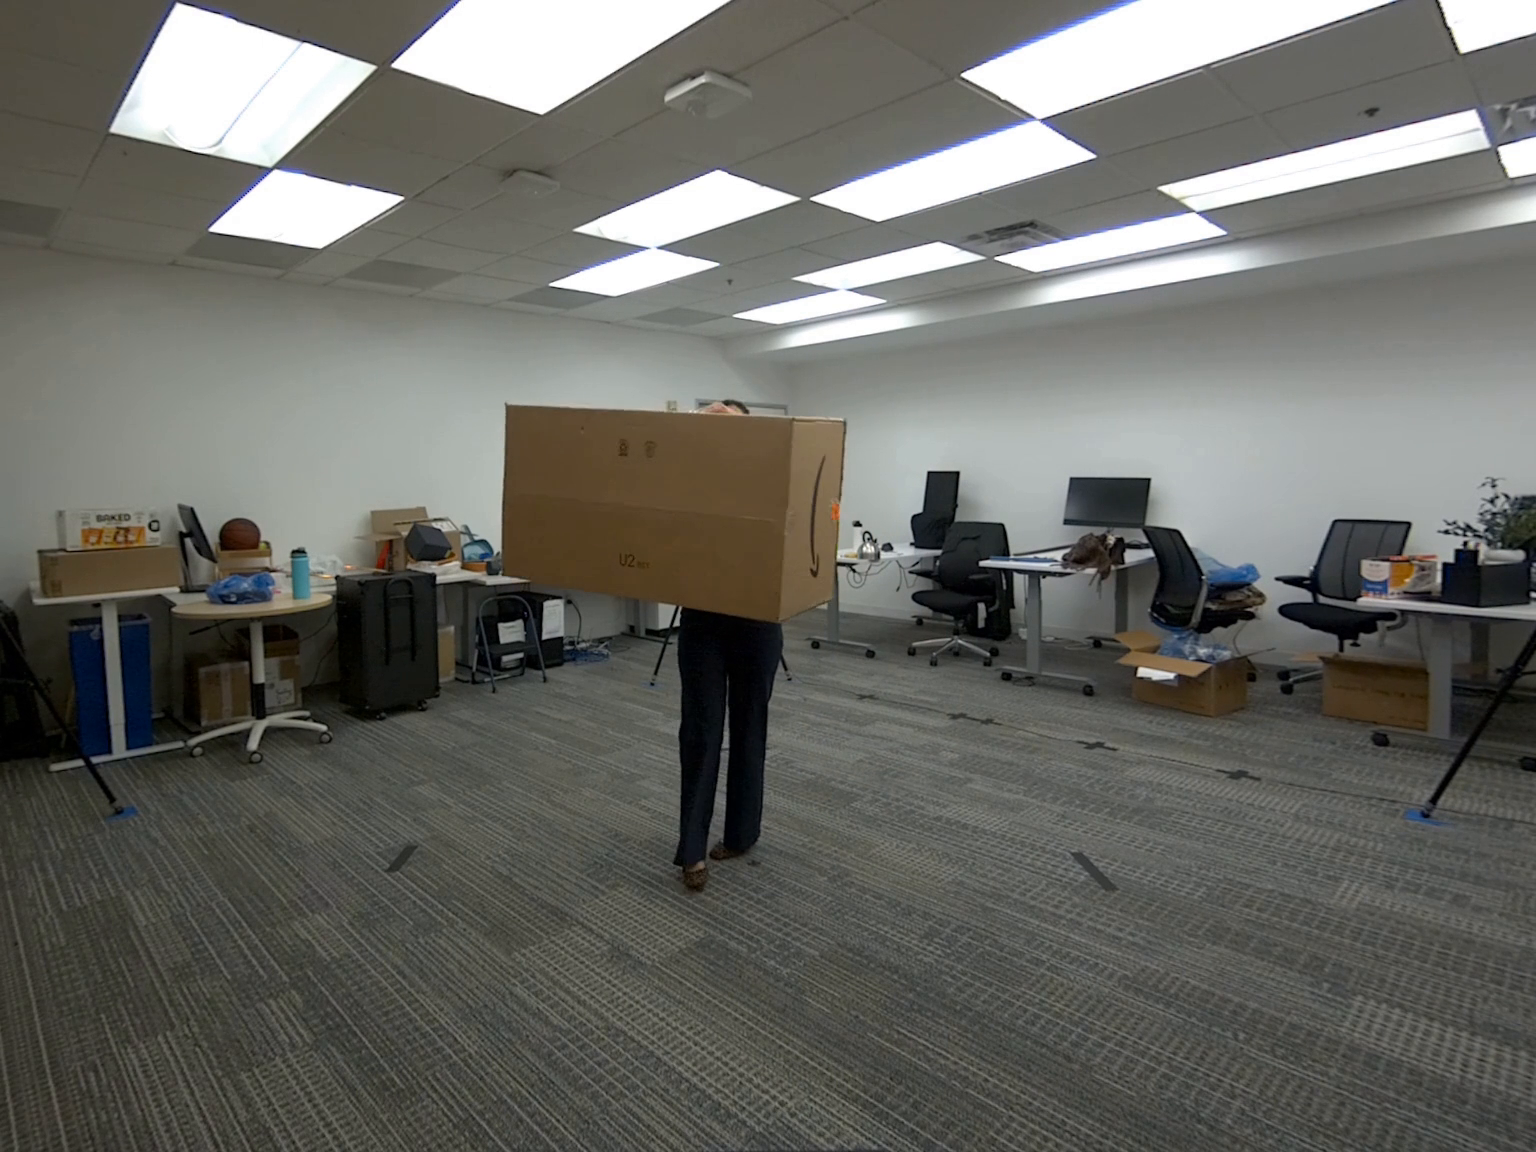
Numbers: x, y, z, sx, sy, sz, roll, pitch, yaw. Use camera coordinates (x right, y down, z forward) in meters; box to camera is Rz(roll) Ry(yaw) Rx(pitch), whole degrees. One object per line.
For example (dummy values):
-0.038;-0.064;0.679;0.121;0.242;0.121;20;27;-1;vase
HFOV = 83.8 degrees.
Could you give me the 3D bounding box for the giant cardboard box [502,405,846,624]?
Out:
-0.319;-0.248;2.756;1.053;0.574;0.418;8;9;27;giant cardboard box
